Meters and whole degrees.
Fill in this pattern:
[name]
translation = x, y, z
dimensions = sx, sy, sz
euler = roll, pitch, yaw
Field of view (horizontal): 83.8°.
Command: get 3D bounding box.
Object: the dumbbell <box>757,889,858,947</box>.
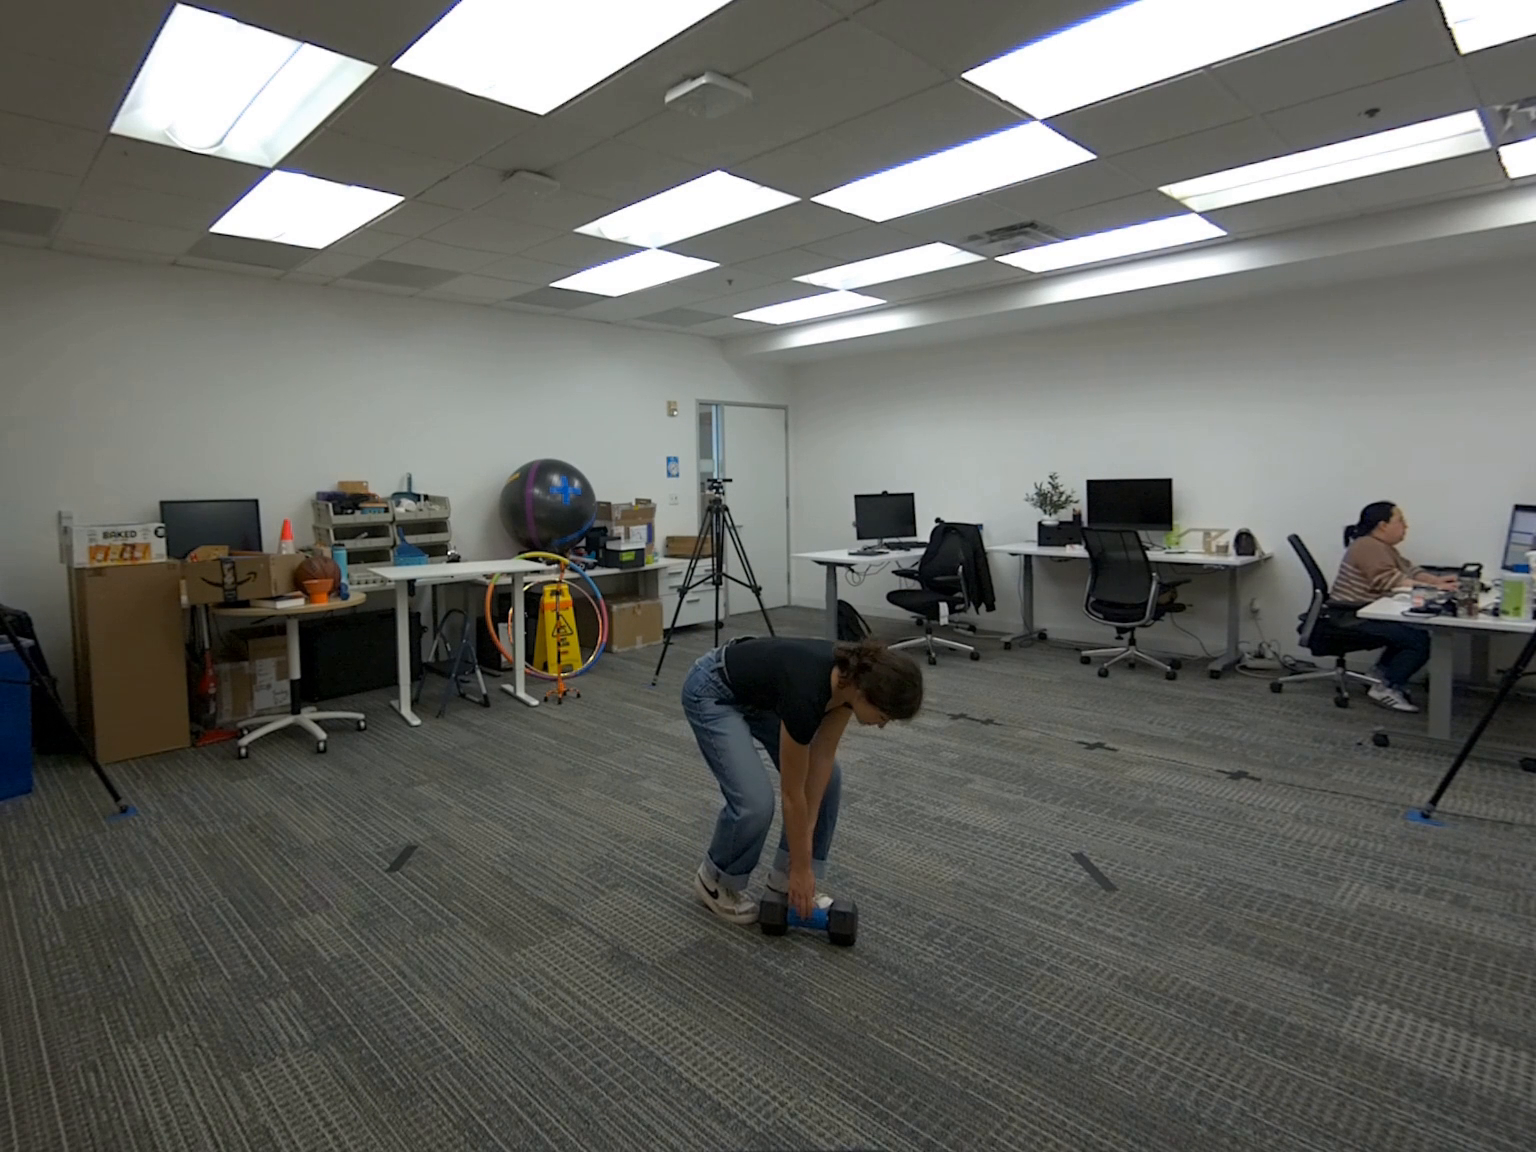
[dumbbell]
translation = 0.125, 1.044, 2.608
dimensions = 0.298, 0.119, 0.110
euler = 0, 36, 14
